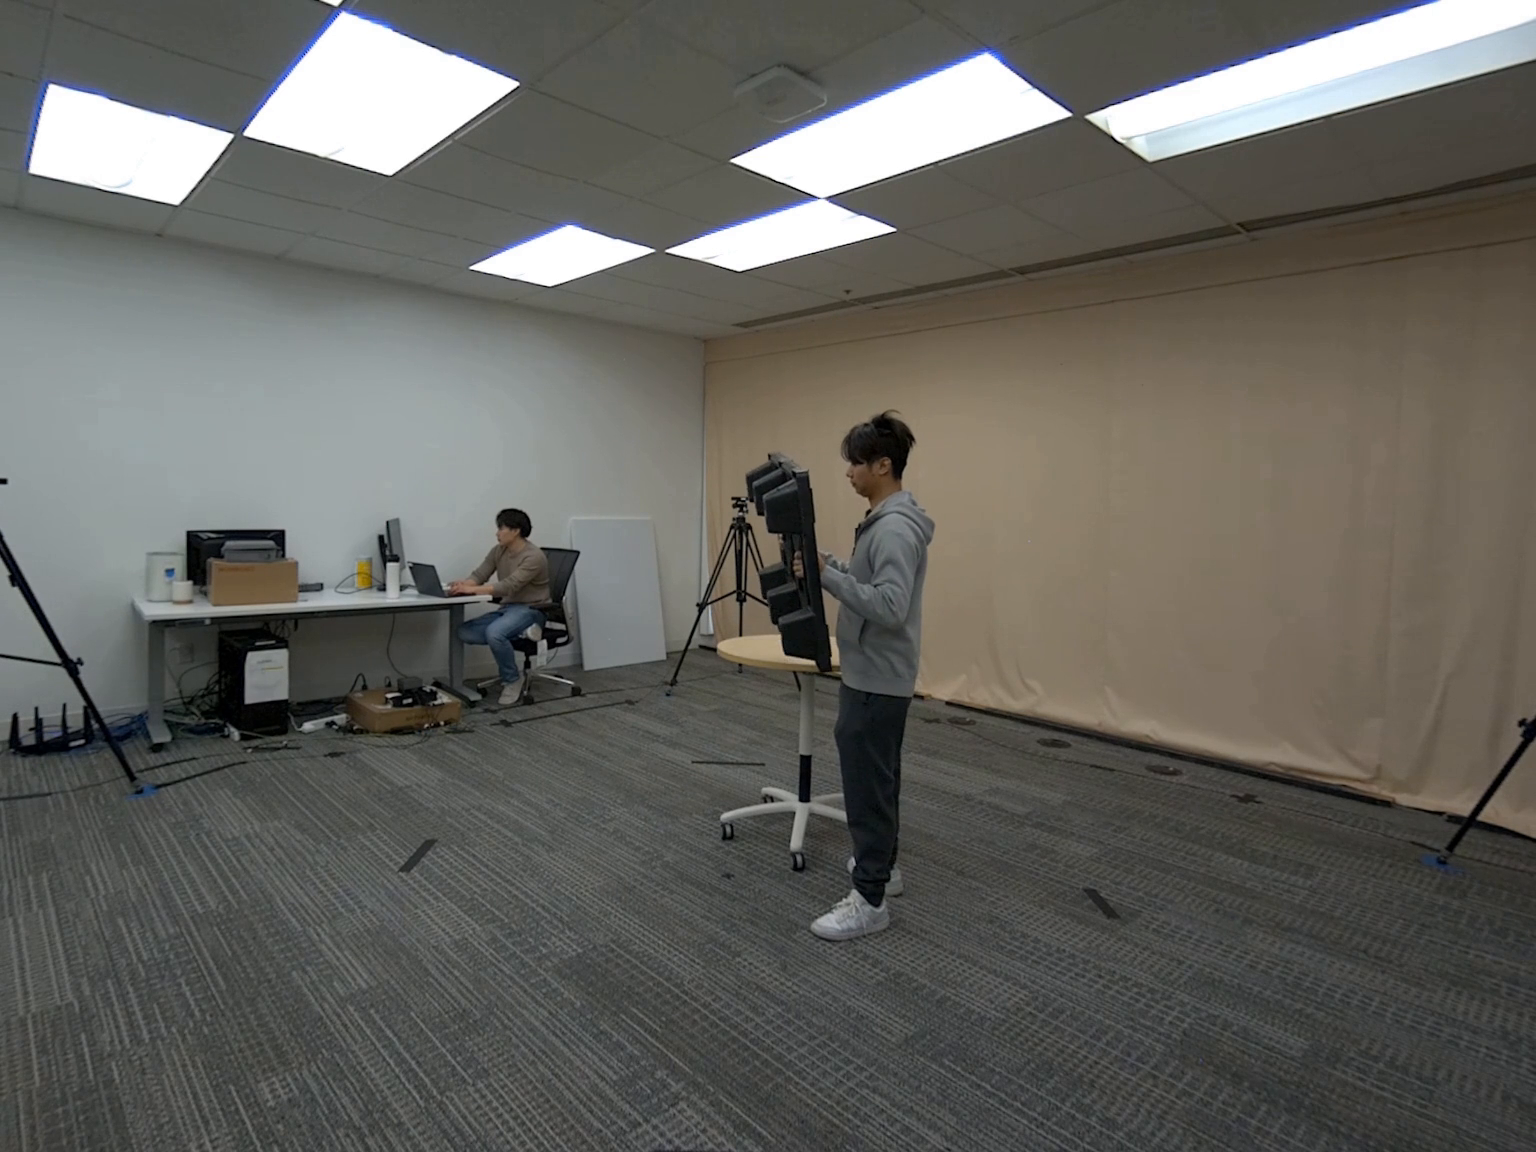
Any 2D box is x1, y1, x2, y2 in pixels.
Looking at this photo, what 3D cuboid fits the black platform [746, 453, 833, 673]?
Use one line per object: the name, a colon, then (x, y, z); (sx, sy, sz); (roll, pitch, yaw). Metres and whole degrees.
black platform: (0.043, -0.081, 2.789); (0.143, 0.600, 0.814); (-7, 11, -4)
